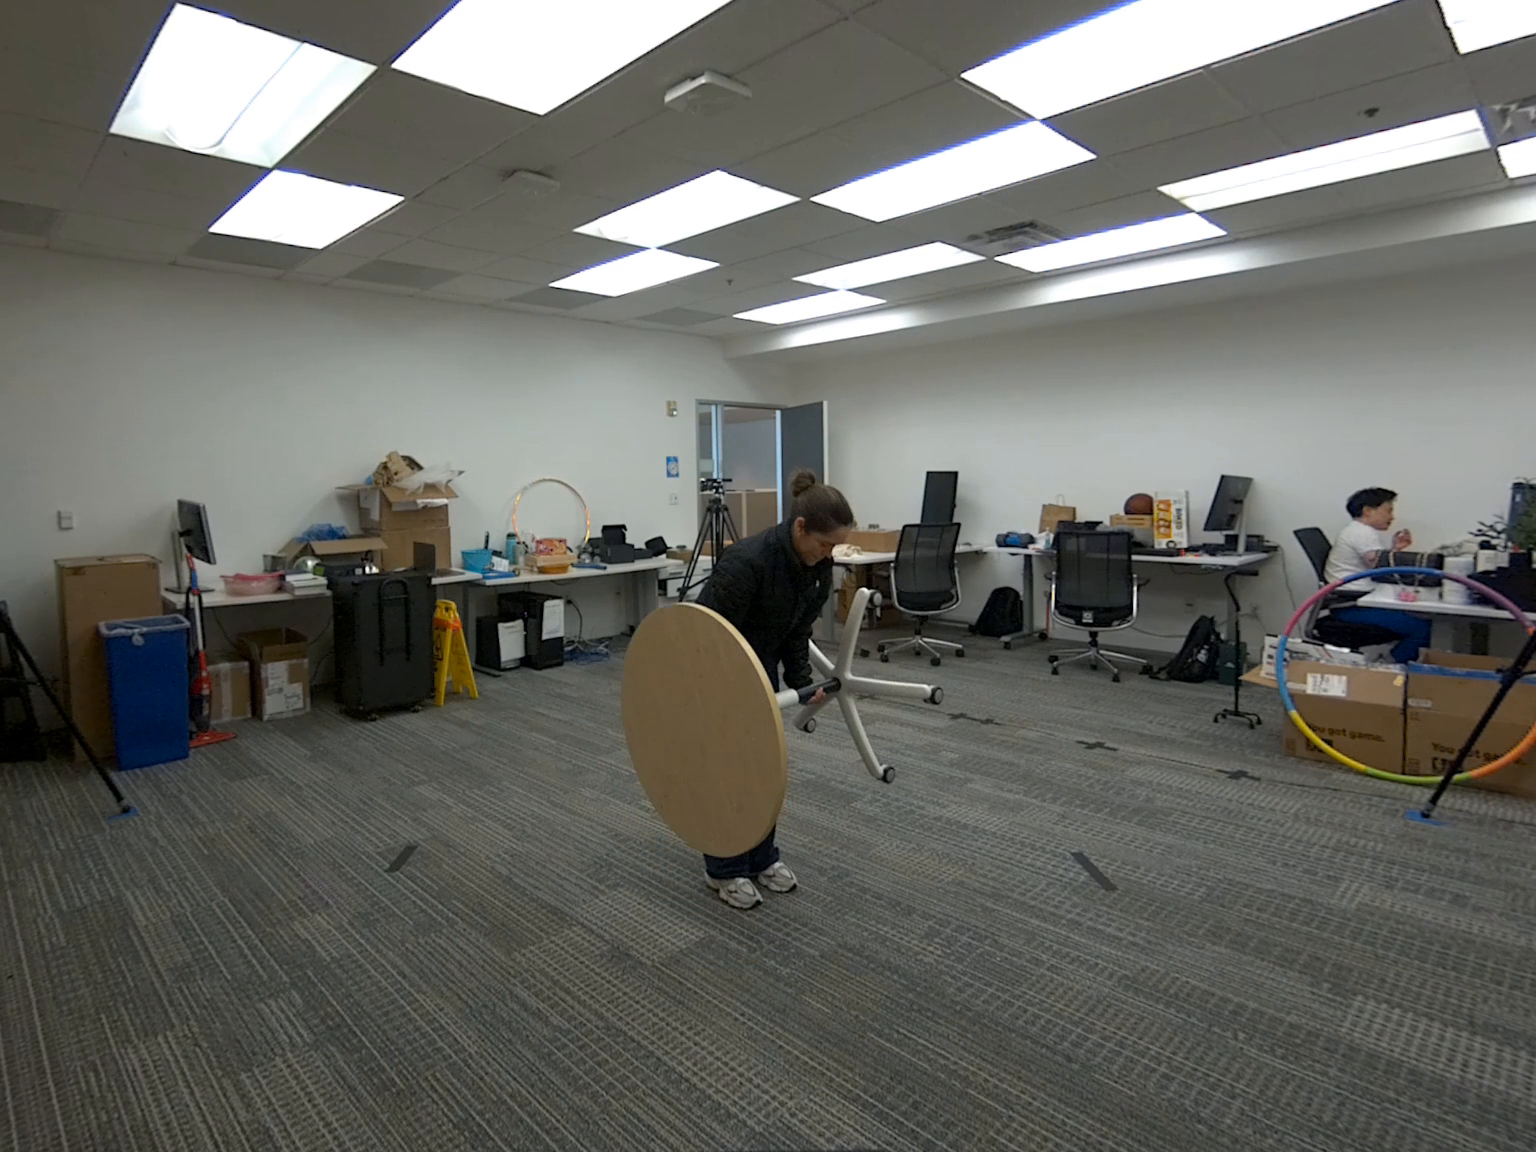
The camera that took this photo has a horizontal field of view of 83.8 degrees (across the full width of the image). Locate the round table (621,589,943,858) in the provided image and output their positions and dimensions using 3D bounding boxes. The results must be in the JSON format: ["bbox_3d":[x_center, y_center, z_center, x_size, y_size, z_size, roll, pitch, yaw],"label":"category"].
[{"bbox_3d":[0.047,0.423,2.871,0.767,0.781,0.809,-8,8,-43],"label":"round table"}]
